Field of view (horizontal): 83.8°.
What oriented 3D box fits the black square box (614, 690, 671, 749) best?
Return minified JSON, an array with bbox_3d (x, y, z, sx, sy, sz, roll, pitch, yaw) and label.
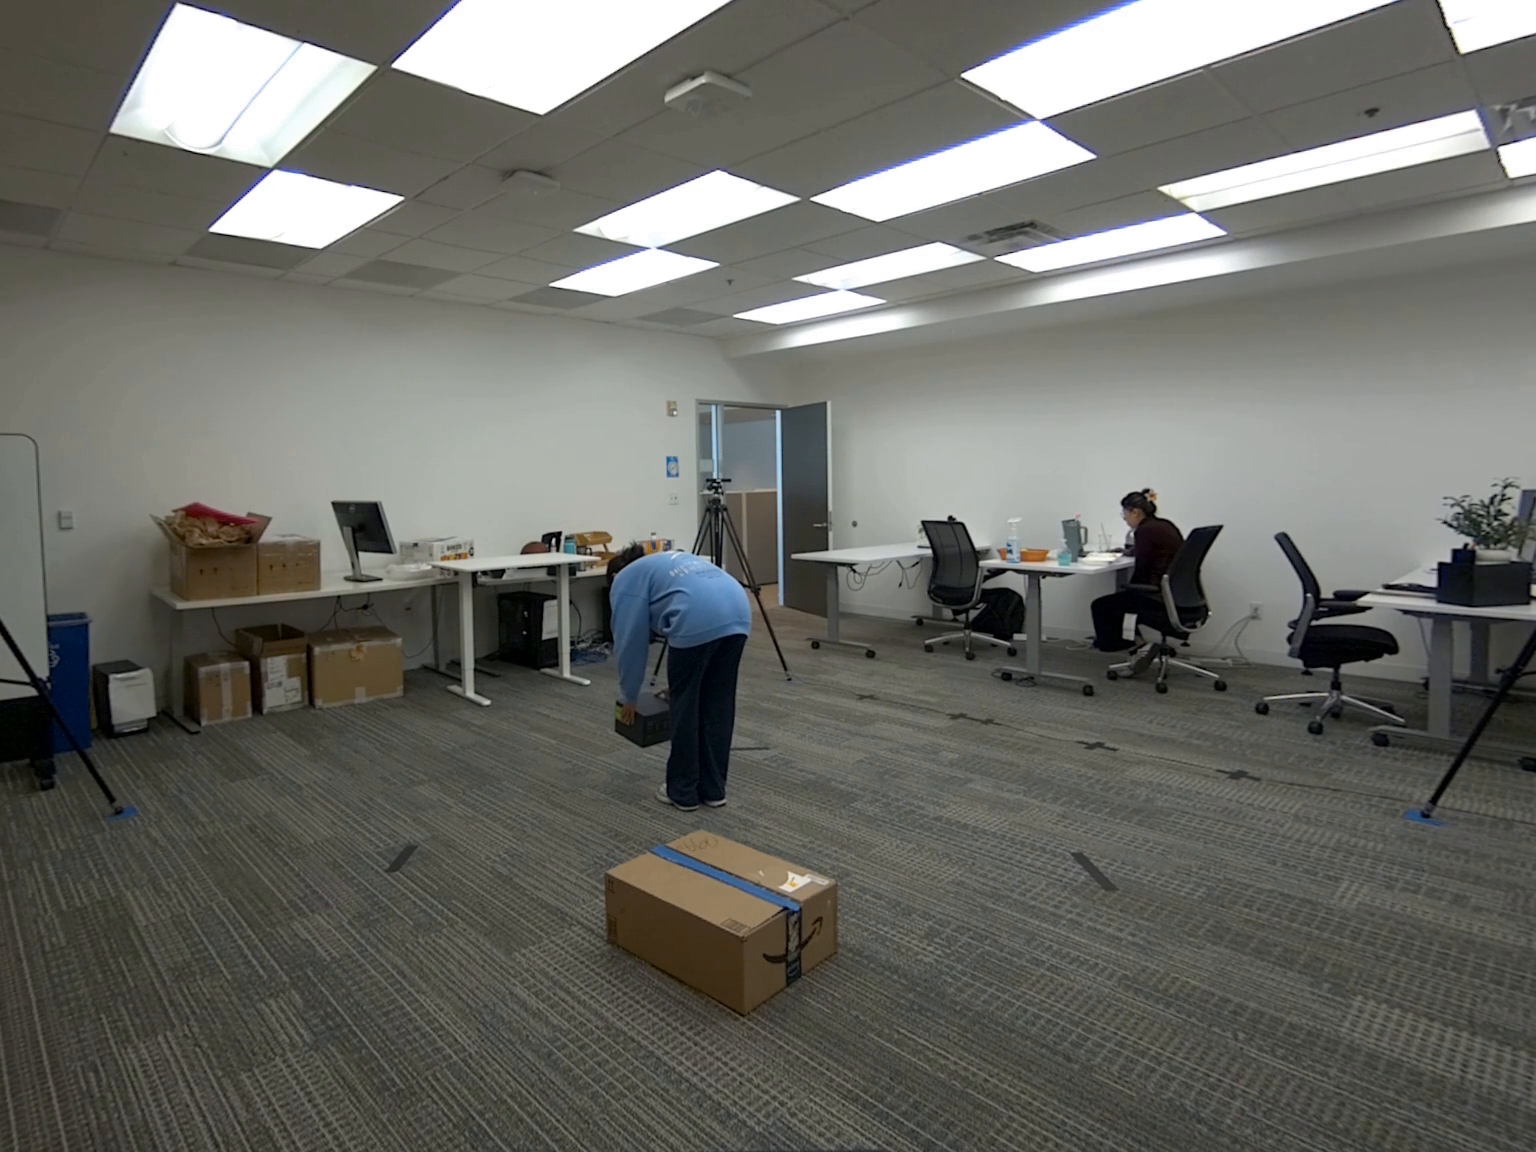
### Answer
[{"bbox_3d":[-0.553,0.658,3.972,0.211,0.154,0.236,-7,16,-43],"label":"black square box"}]
